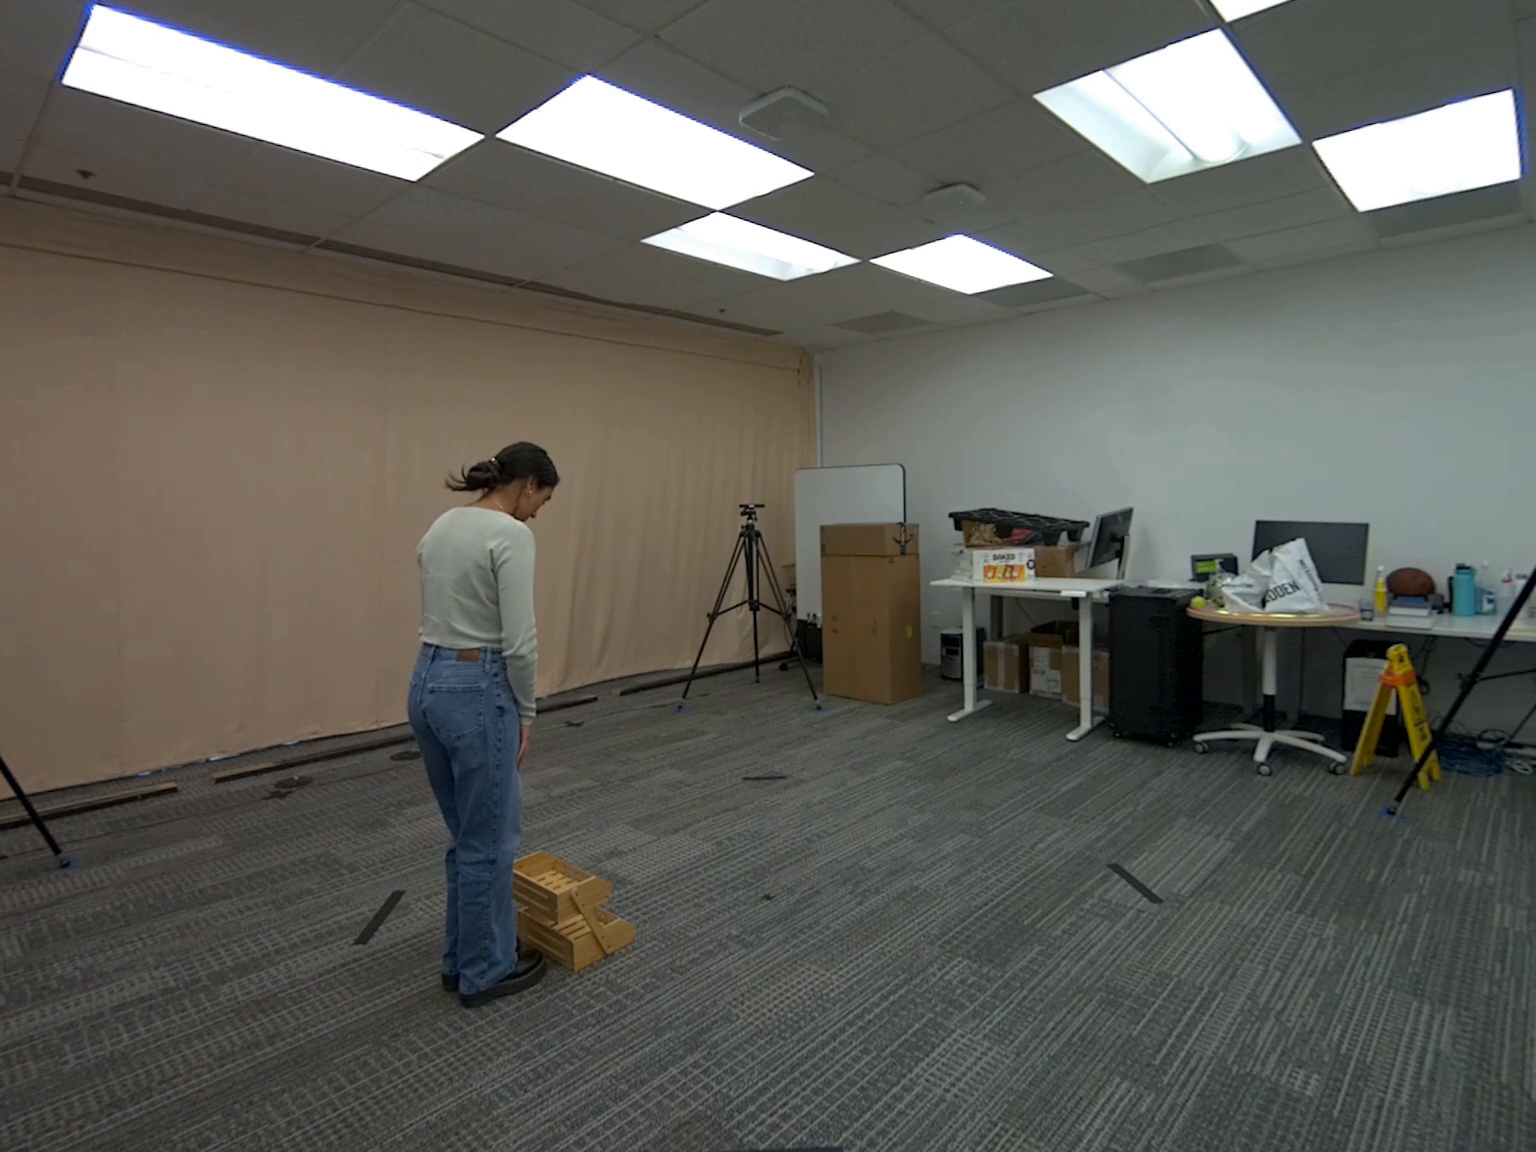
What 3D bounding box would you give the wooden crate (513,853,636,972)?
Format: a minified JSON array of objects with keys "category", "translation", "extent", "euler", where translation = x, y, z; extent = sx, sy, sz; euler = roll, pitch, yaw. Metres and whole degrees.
[{"category":"wooden crate","translation":[-0.637,1.045,2.693],"extent":[0.335,0.272,0.293],"euler":[2,6,42]}]
